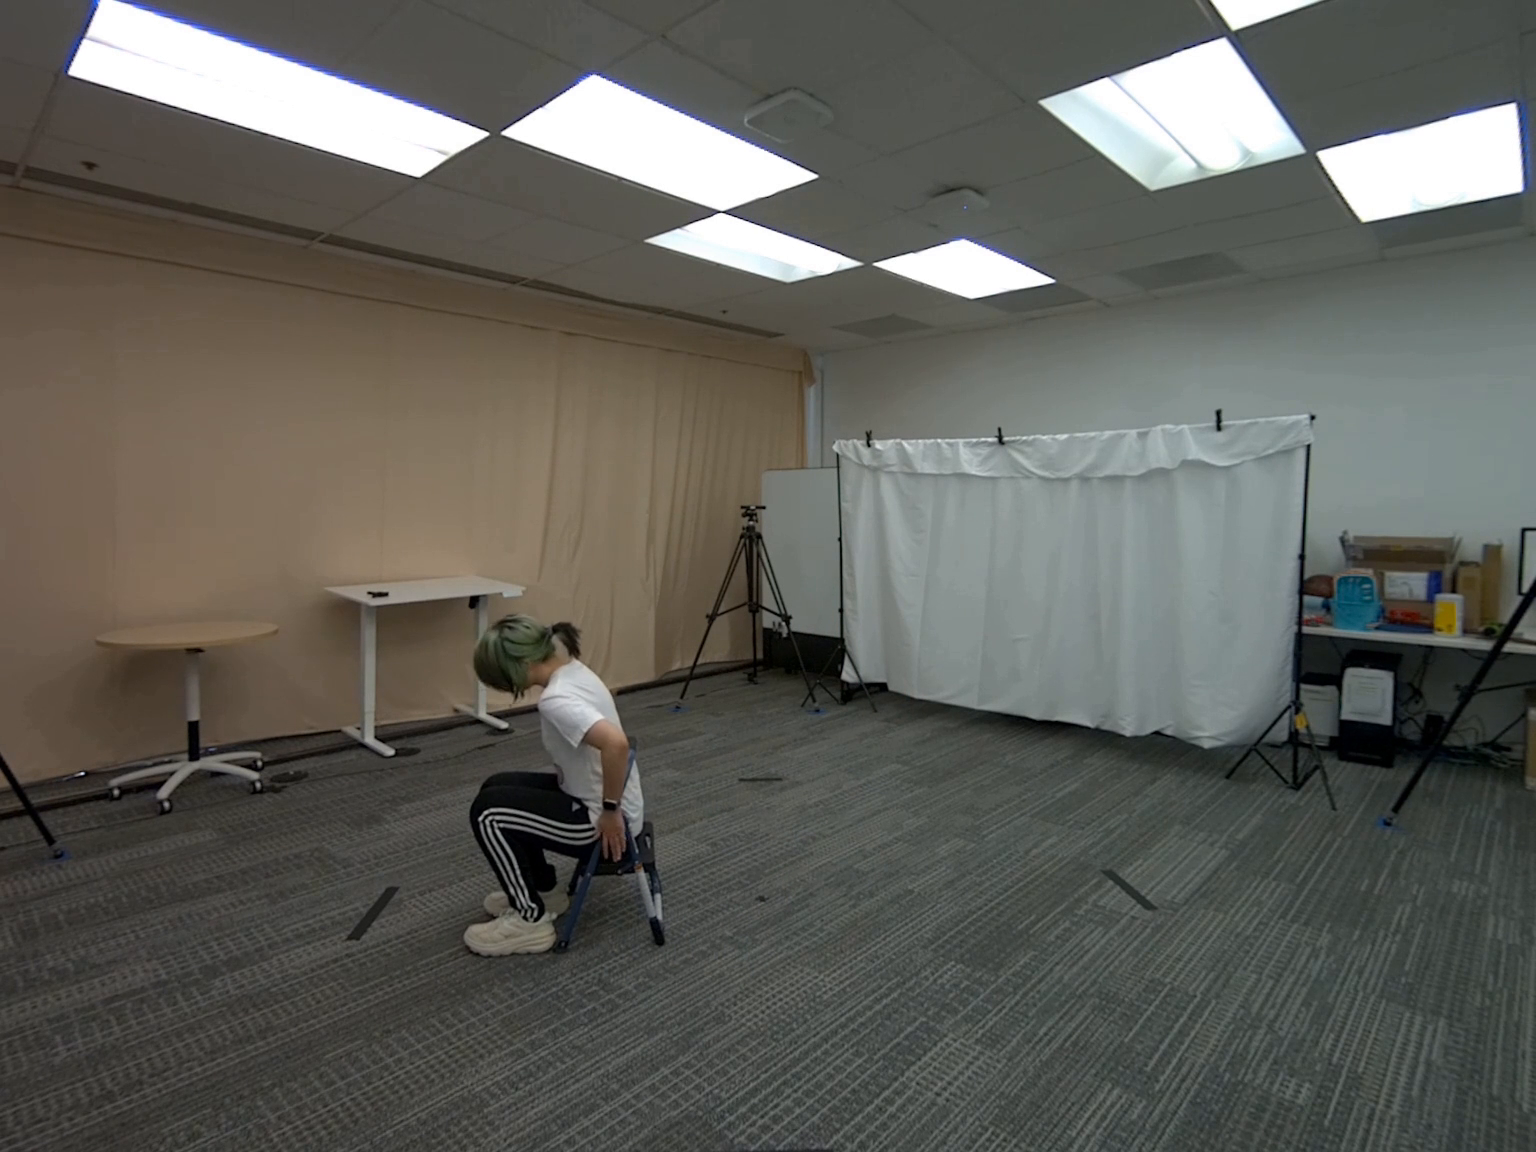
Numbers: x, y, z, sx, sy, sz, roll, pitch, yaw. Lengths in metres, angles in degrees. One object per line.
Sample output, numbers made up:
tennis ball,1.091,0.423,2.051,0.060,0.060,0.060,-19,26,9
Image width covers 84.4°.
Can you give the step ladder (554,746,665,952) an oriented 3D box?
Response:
step ladder,-0.527,0.863,2.829,0.346,0.605,0.435,-1,4,-8
